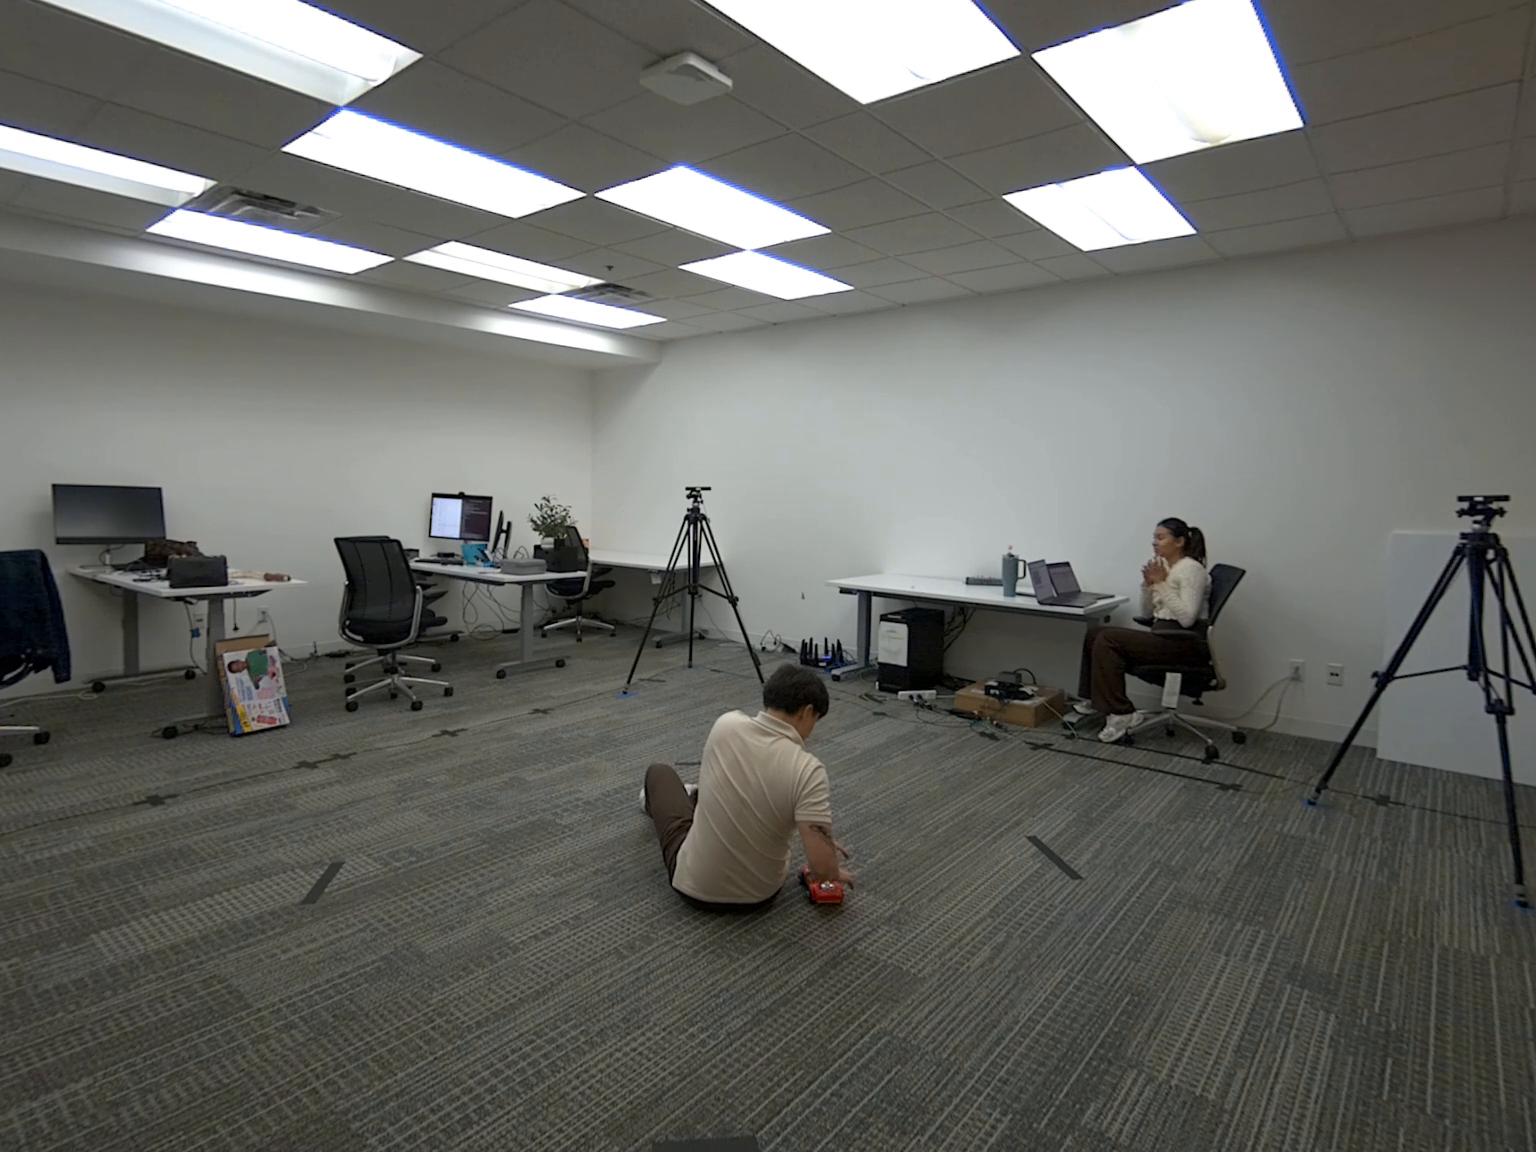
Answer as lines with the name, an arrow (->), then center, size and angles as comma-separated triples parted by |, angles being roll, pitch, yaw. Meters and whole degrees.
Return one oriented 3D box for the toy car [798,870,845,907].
toy car -> 0.178, 1.068, 2.918 | 0.129, 0.084, 0.255 | 1, -7, -9
